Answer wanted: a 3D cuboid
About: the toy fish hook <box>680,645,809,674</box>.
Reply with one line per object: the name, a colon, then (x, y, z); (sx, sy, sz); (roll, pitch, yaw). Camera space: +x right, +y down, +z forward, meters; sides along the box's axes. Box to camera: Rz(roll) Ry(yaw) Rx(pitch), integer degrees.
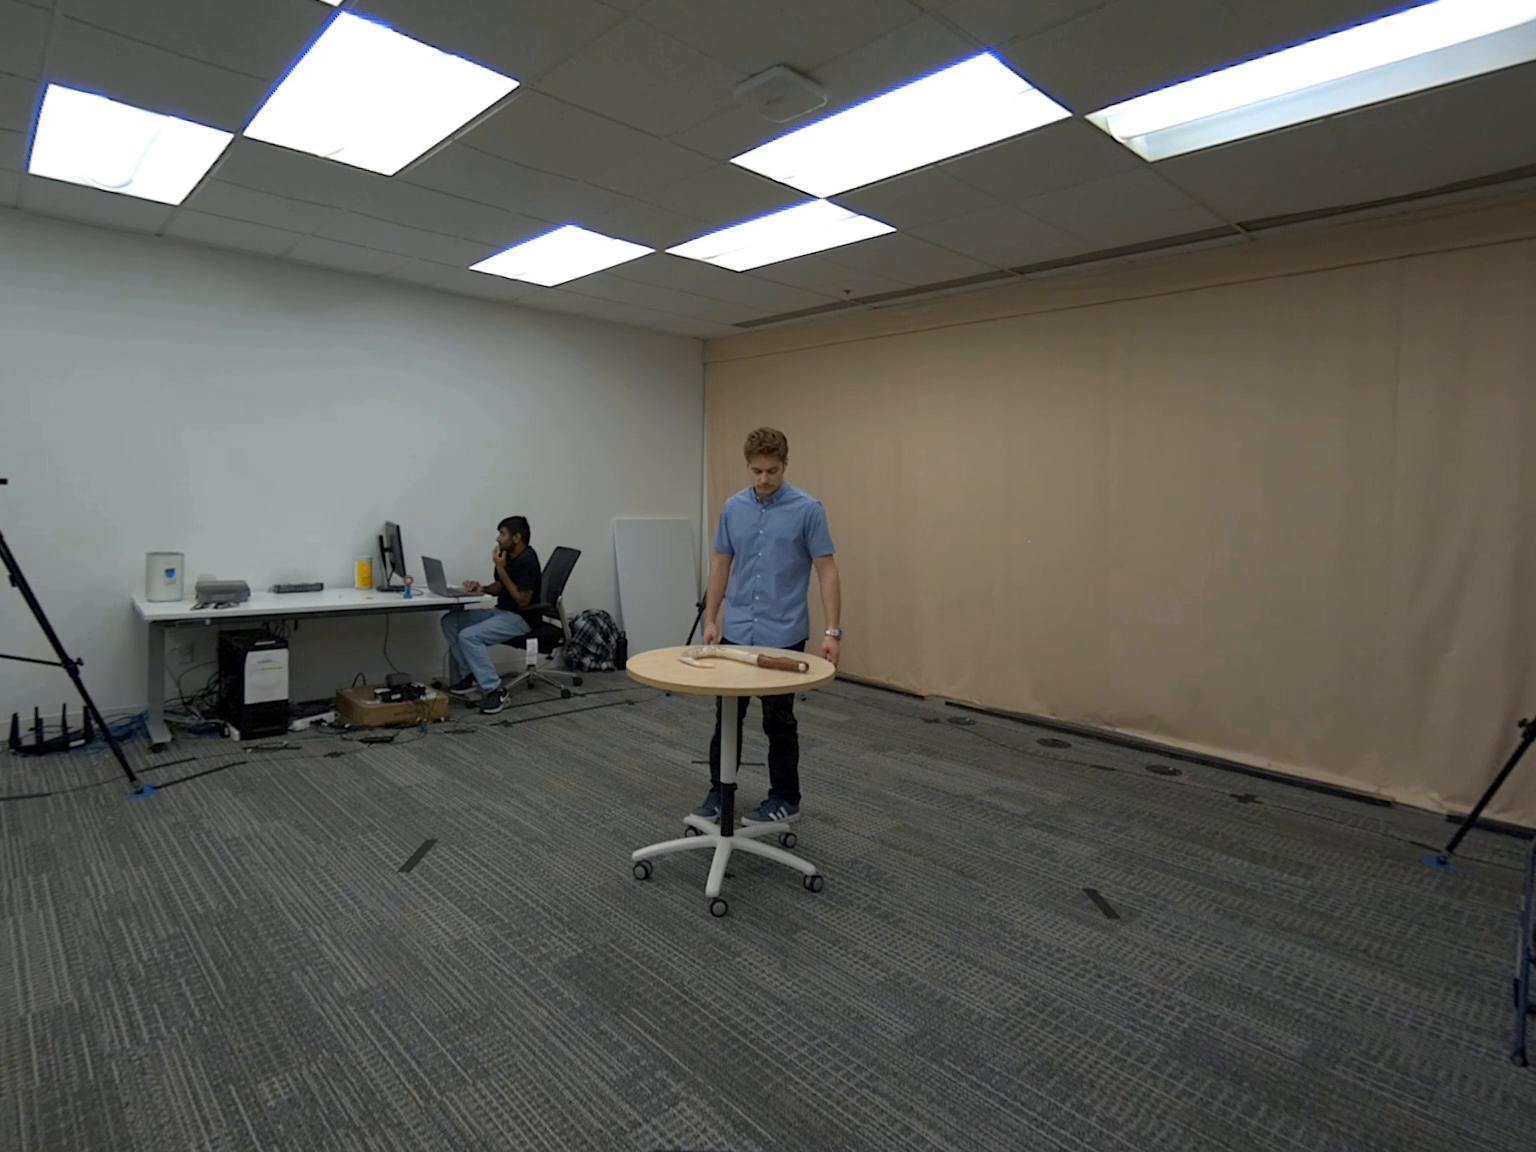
toy fish hook: (-0.111, 0.316, 3.053); (0.518, 0.048, 0.221); (4, 14, 33)
